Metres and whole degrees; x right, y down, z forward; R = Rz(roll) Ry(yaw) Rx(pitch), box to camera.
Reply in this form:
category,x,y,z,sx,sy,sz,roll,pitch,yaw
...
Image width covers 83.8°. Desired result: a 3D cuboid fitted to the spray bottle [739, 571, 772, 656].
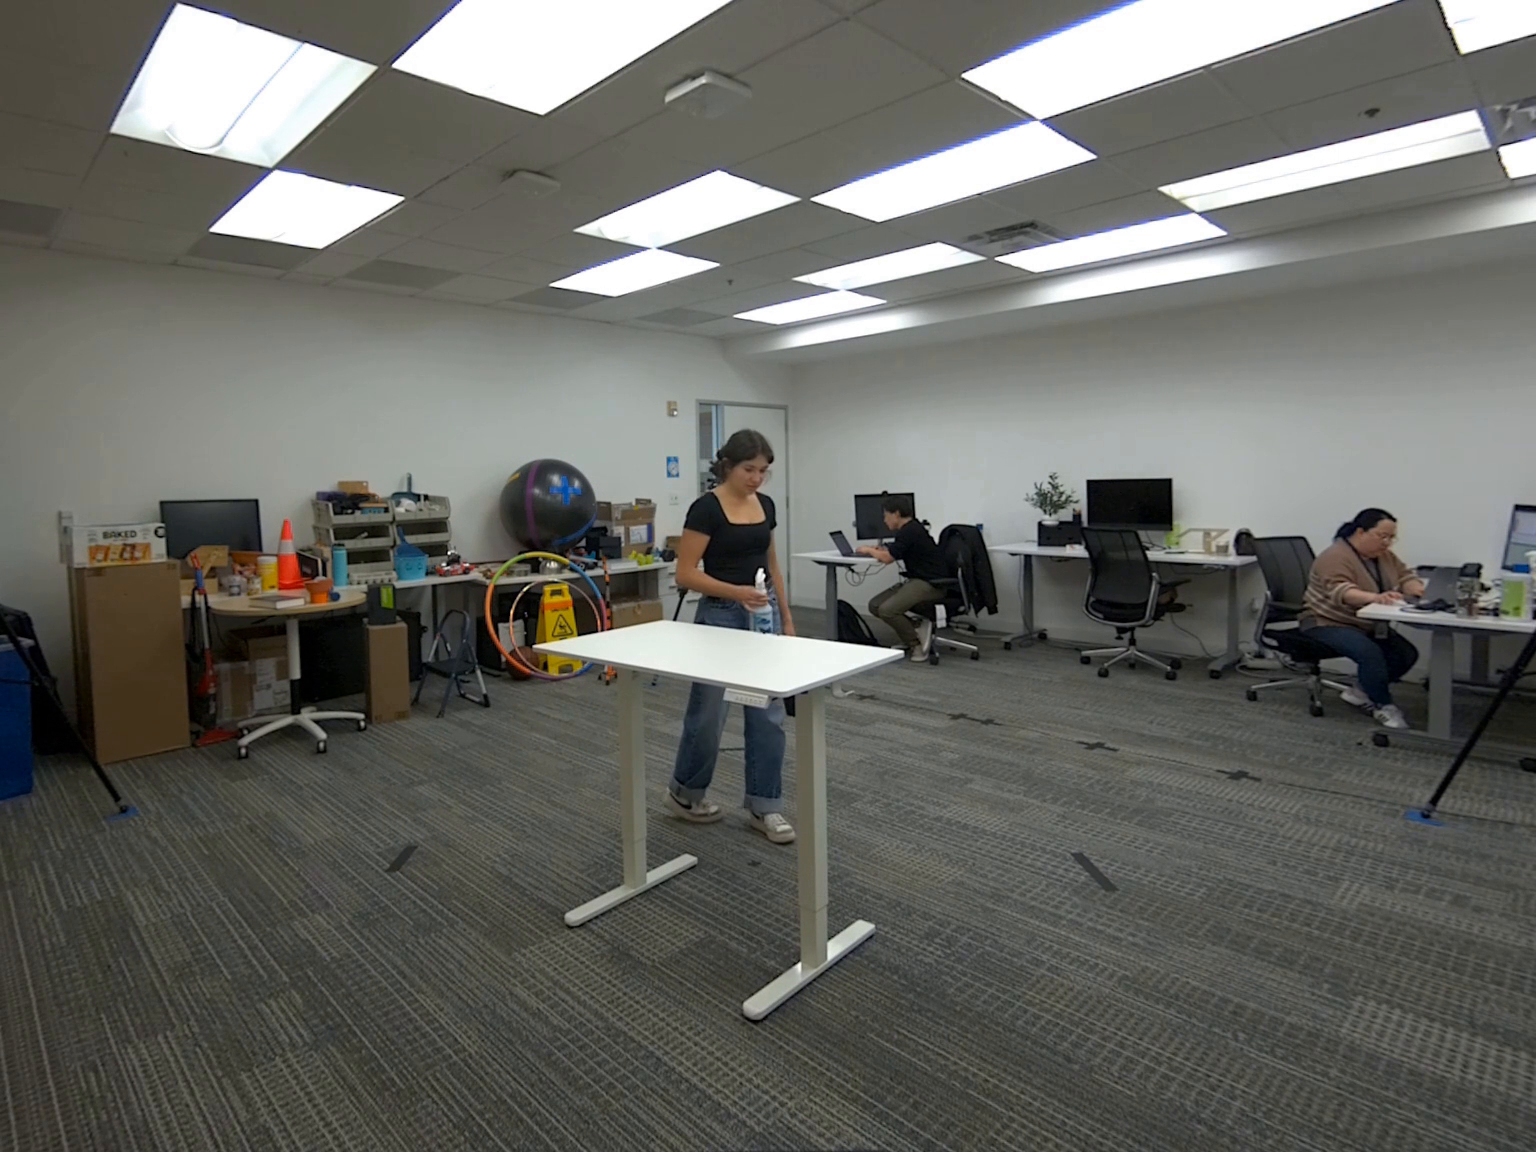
category,x,y,z,sx,sy,sz,roll,pitch,yaw
spray bottle,-0.049,0.129,3.144,0.089,0.294,0.088,7,14,31
